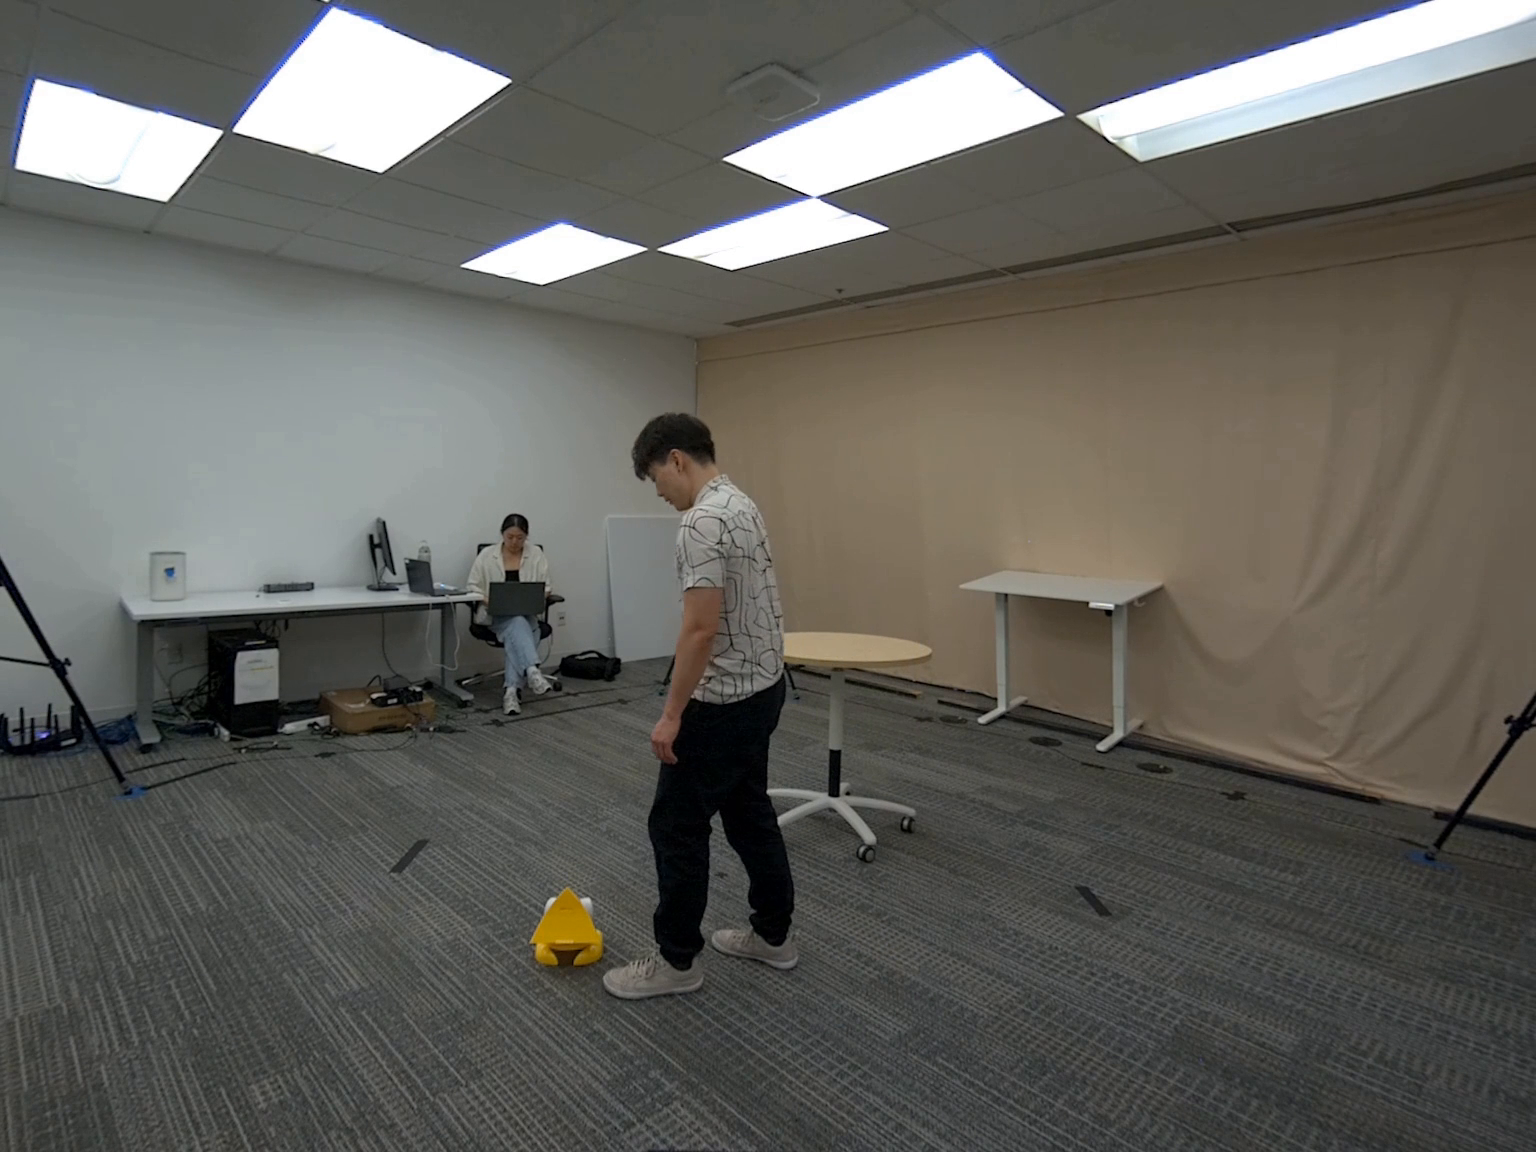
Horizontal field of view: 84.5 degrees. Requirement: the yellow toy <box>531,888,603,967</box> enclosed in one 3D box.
[{"bbox_3d":[-0.611,1.035,2.547,0.204,0.230,0.194,1,5,-2],"label":"yellow toy"}]
